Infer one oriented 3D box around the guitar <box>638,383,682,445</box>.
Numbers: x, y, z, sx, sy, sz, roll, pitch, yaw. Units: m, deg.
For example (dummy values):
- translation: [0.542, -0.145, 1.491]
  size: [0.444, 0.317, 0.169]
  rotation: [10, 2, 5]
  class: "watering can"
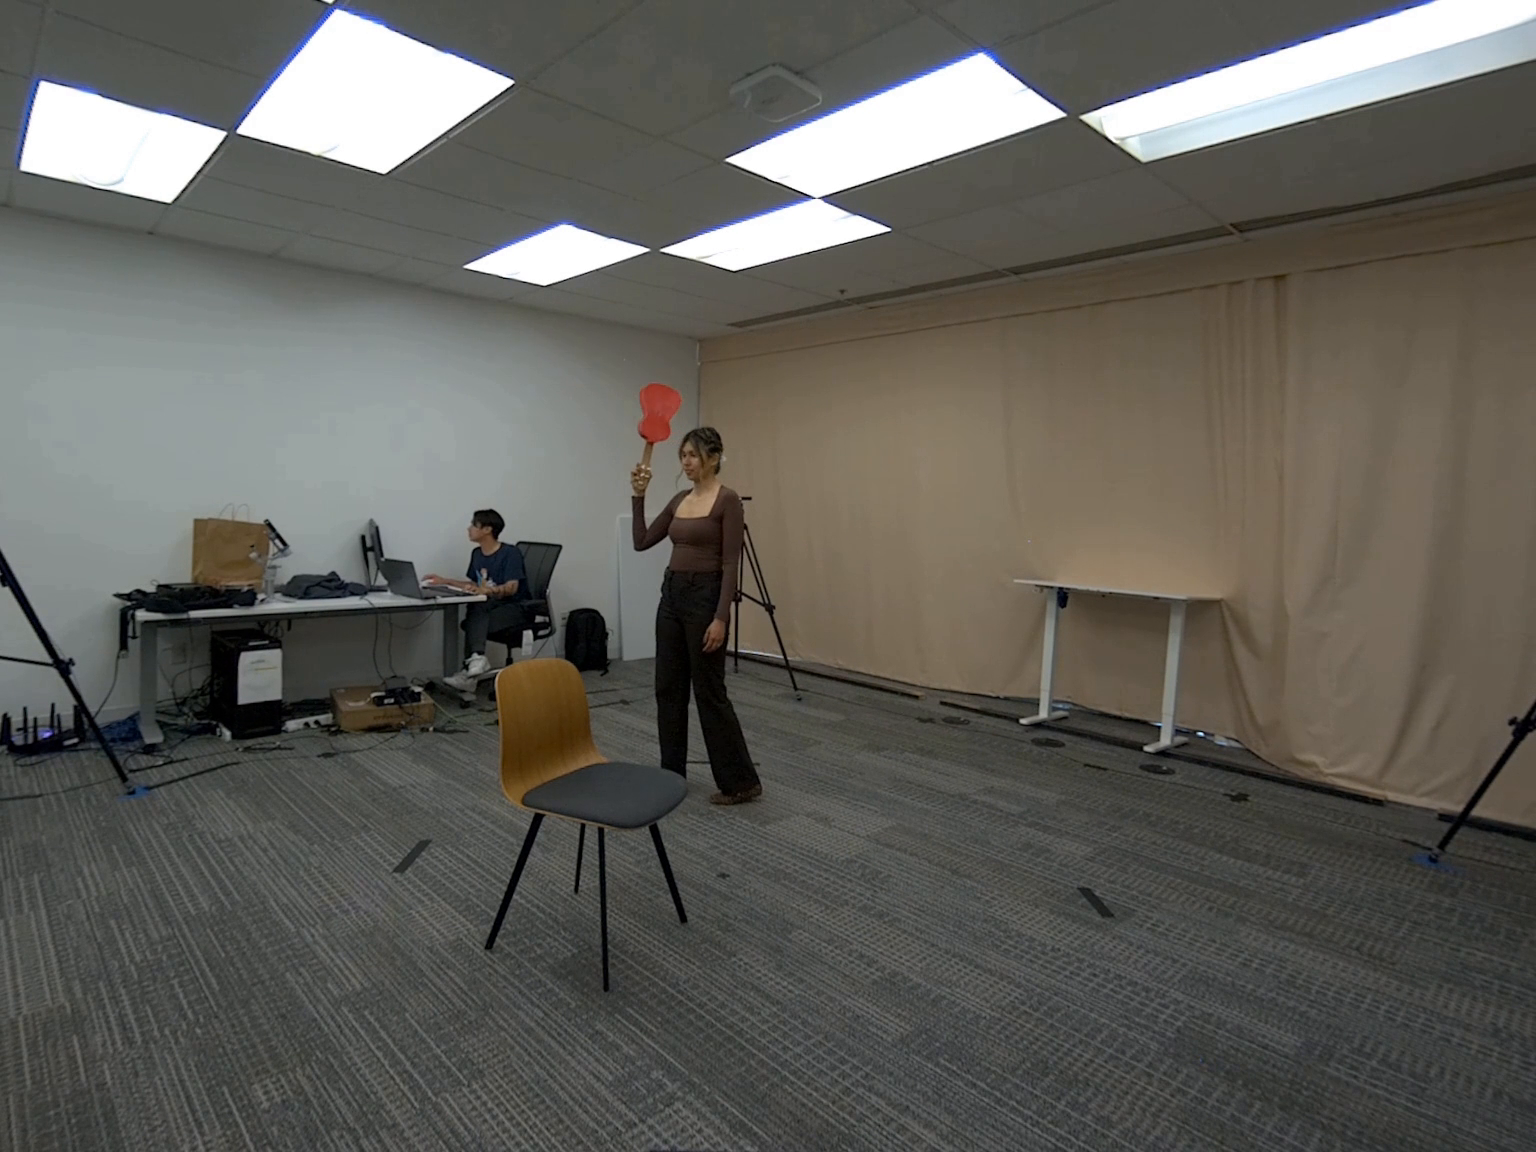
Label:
- translation: [-0.528, -0.655, 3.978]
  size: [0.189, 0.498, 0.072]
  rotation: [4, -2, -27]
  class: "guitar"
